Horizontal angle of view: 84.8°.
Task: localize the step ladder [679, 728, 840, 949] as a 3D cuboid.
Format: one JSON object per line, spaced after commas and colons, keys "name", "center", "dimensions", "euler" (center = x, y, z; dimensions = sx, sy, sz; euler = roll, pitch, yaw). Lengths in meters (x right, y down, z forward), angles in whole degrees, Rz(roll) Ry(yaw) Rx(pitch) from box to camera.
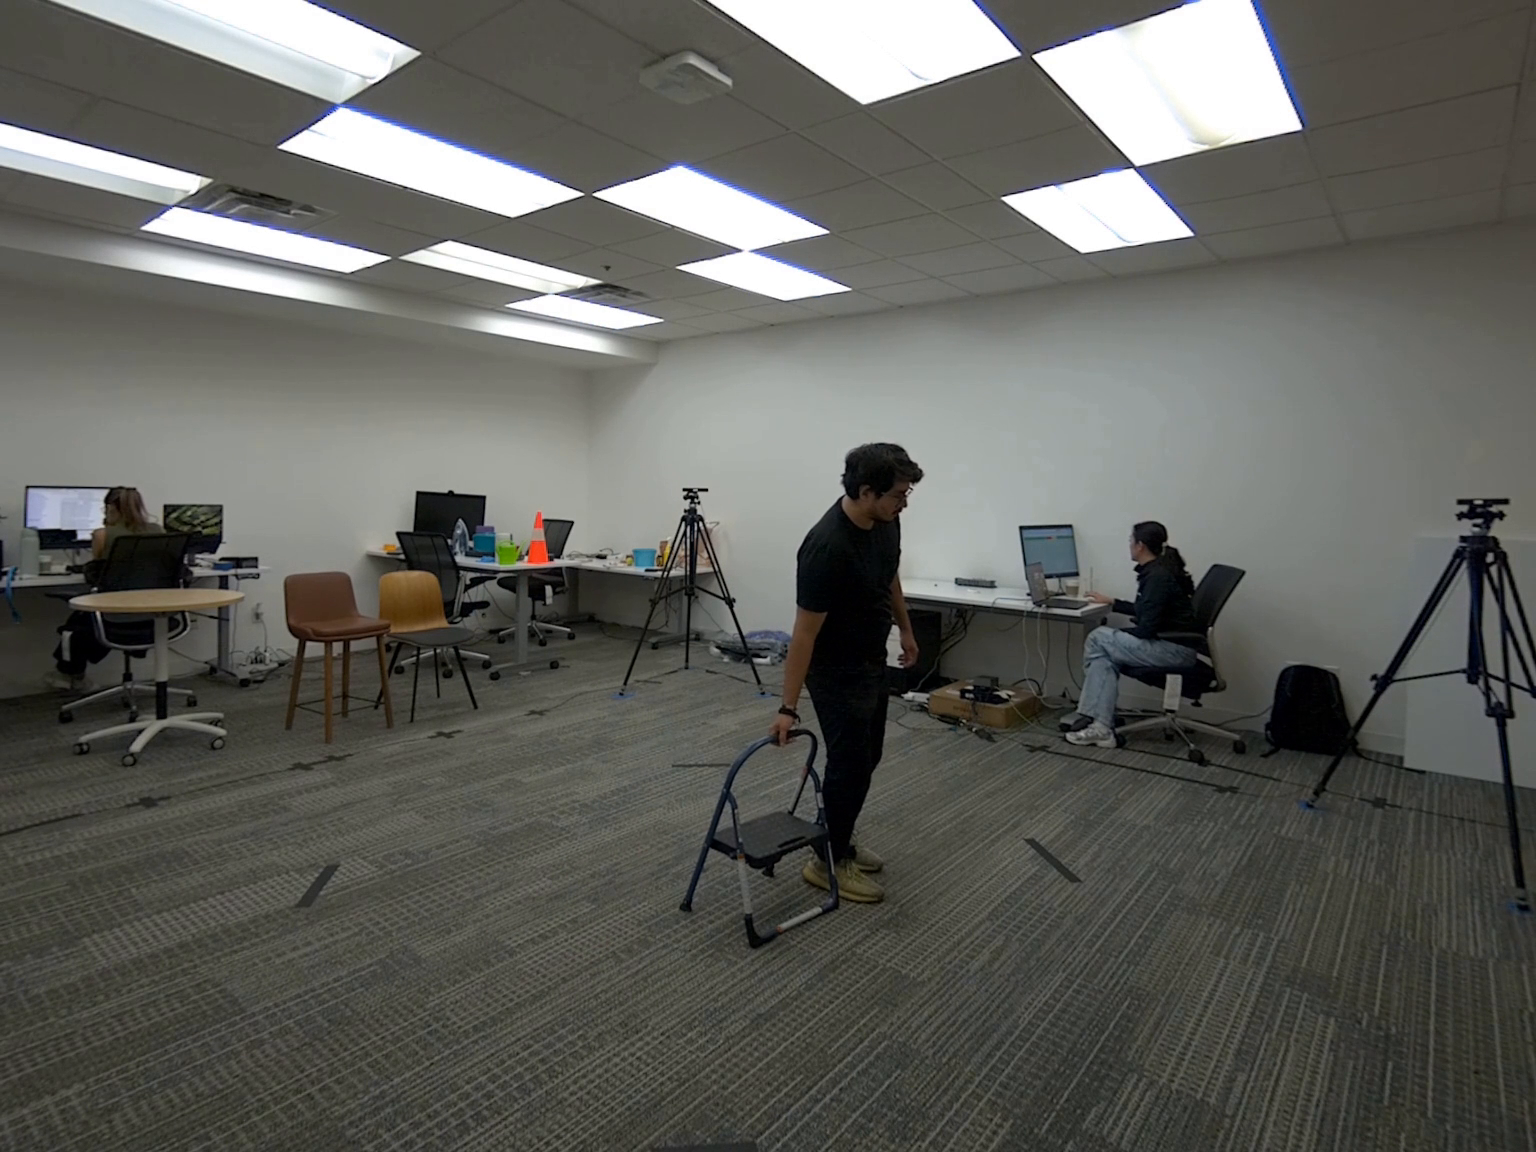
{"name": "step ladder", "center": [-0.022, 0.796, 2.812], "dimensions": [0.361, 0.604, 0.417], "euler": [6, 5, 44]}
